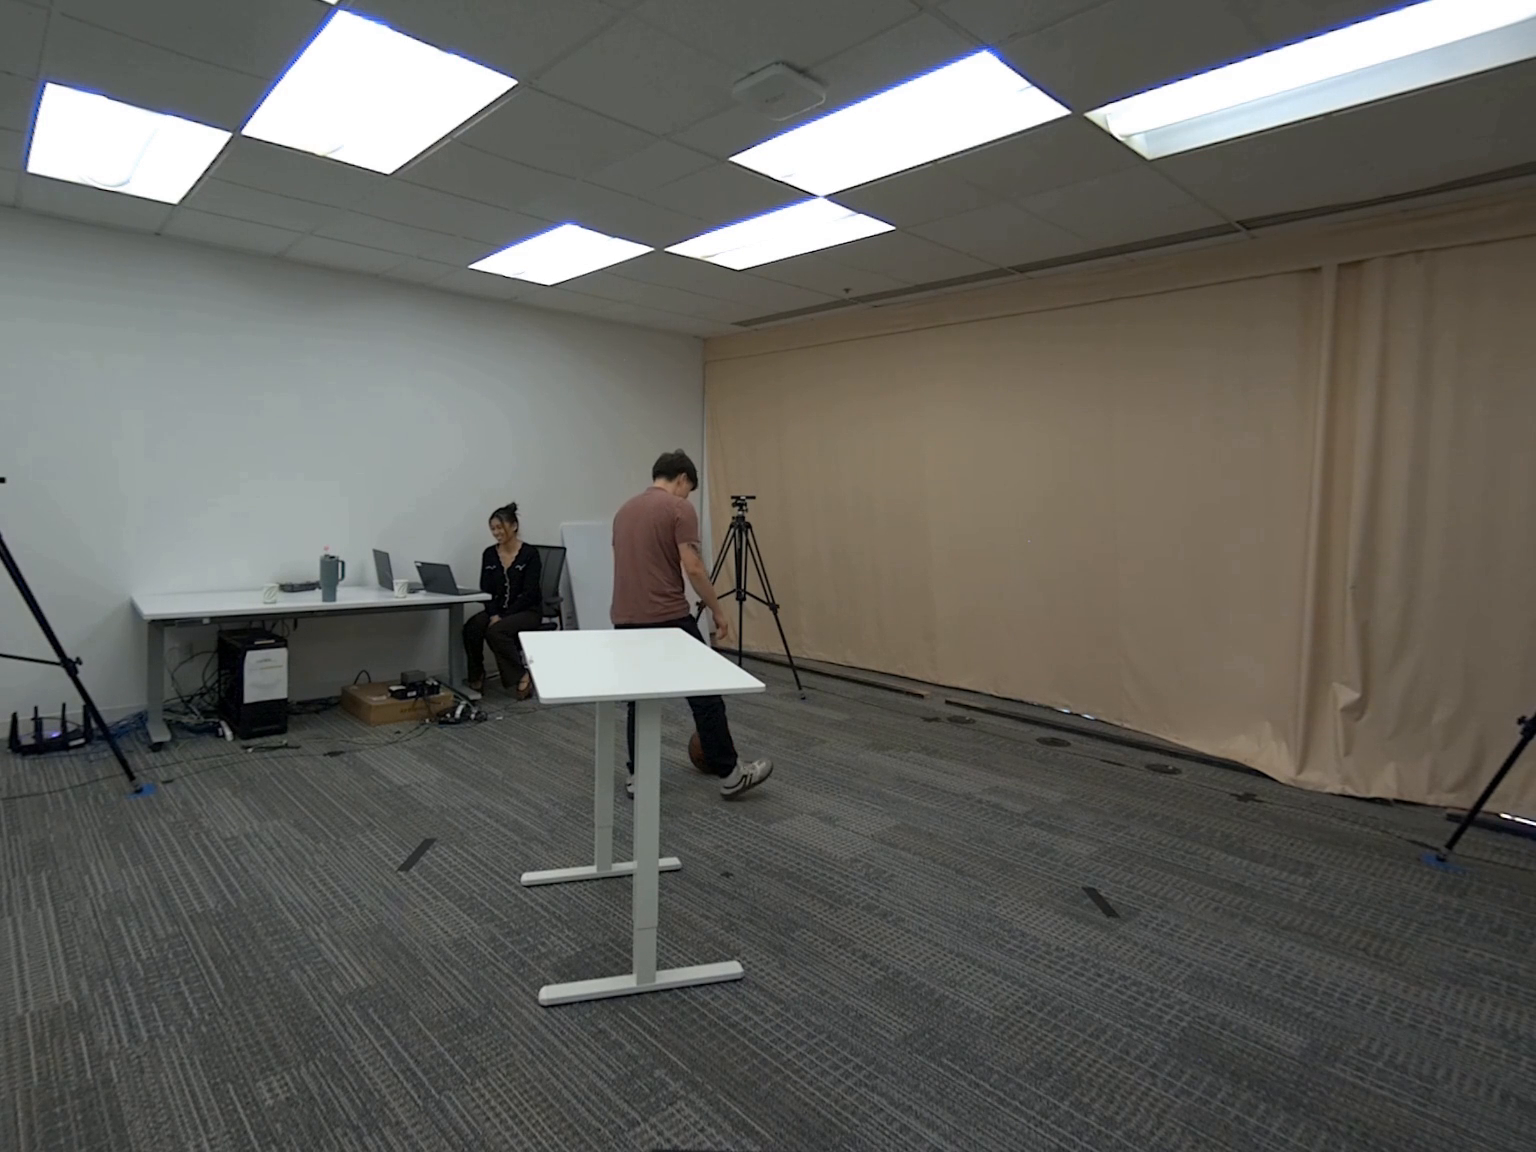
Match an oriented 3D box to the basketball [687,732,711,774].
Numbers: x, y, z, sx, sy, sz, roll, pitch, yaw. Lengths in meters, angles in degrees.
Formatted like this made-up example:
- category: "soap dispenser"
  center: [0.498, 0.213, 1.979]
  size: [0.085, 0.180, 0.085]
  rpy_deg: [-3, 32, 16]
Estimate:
- category: "basketball"
  center: [-0.297, 0.873, 4.285]
  size: [0.236, 0.235, 0.237]
  rpy_deg: [1, 4, -1]
